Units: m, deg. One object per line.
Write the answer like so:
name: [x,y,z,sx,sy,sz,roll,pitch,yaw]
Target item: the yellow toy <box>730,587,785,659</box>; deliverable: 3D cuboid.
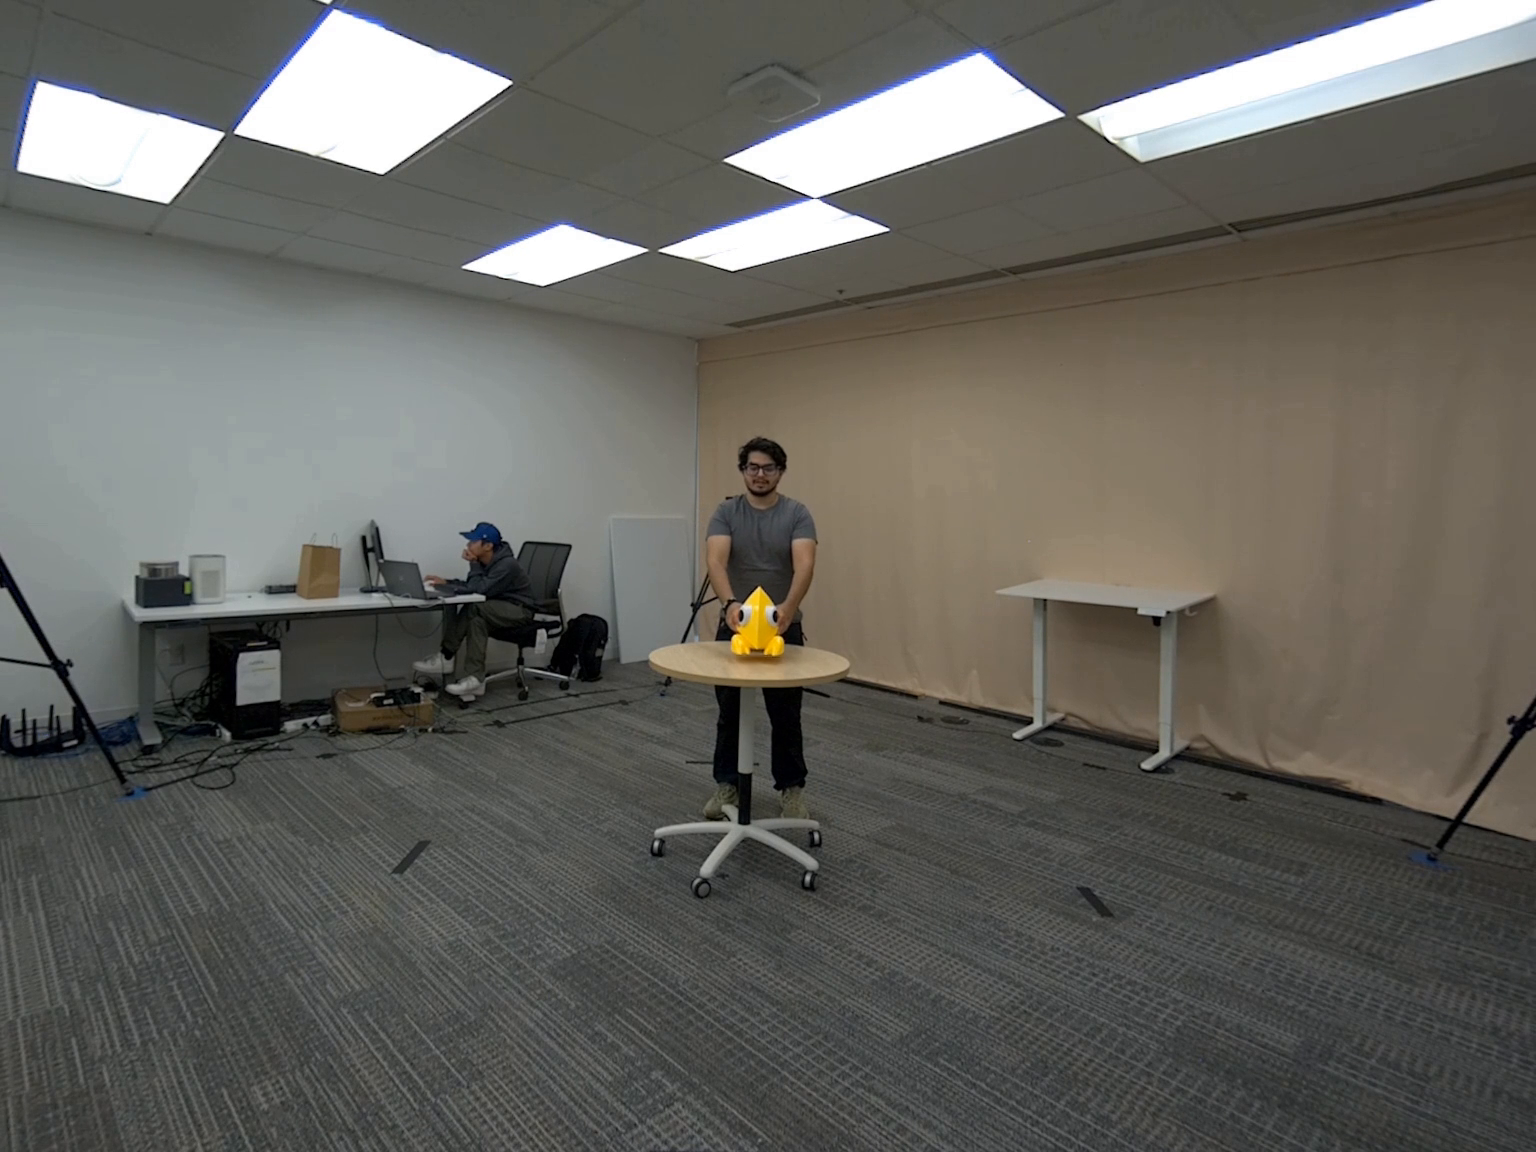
yellow toy: [-0.052,0.162,3.170,0.205,0.229,0.194,2,8,1]
